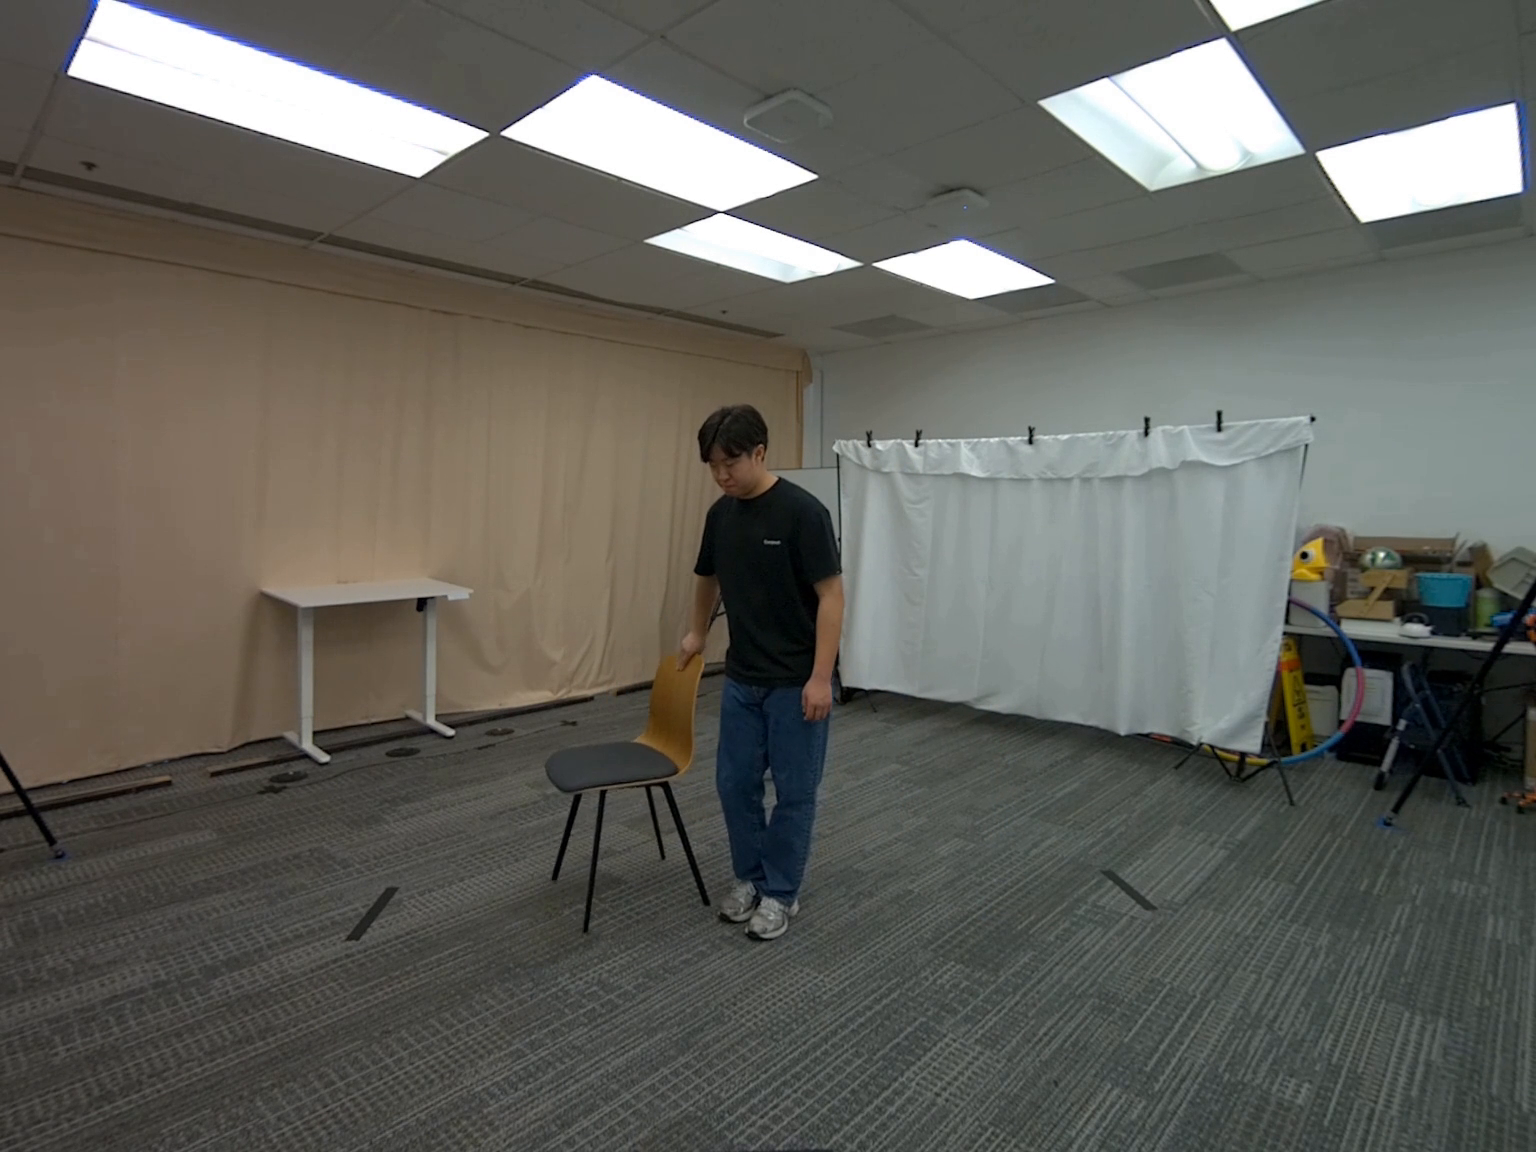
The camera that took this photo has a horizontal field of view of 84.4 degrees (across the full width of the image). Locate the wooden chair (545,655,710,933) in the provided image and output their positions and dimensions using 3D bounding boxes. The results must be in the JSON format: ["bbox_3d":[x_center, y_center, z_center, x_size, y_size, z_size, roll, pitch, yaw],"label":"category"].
[{"bbox_3d":[-0.509,0.719,3.009,0.509,0.876,0.491,3,2,-27],"label":"wooden chair"}]
